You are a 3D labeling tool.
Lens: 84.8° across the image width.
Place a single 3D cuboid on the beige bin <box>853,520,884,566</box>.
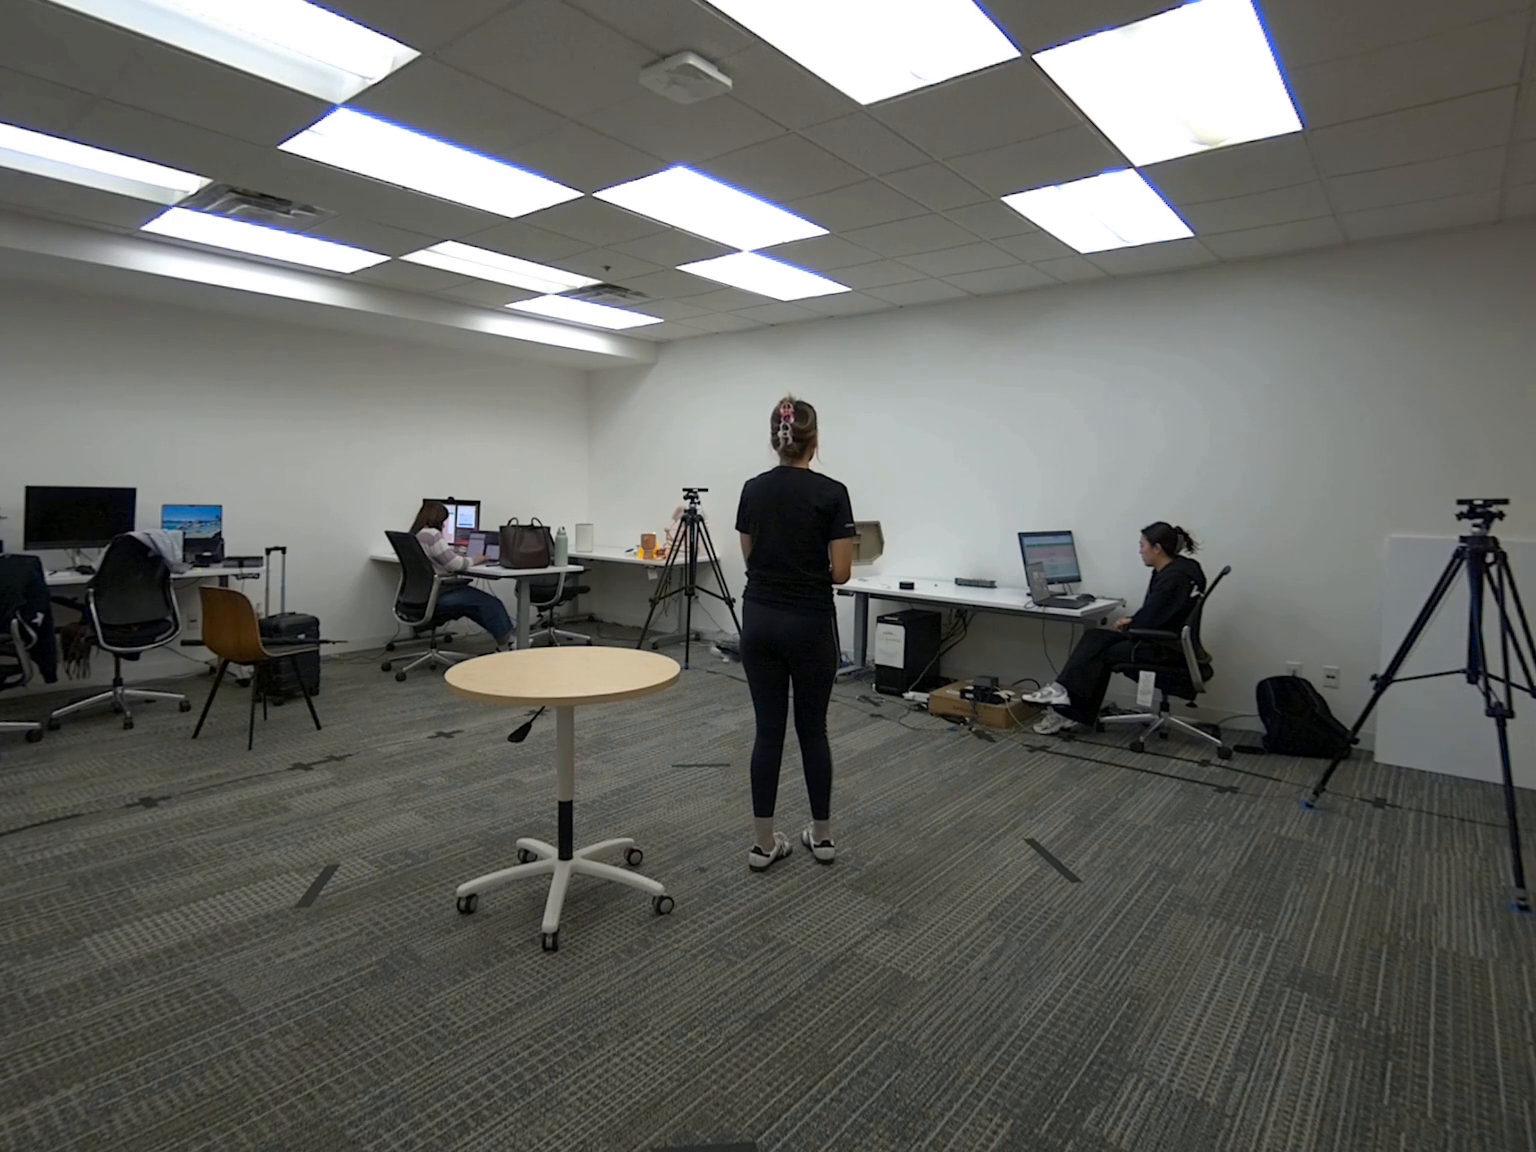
[{"bbox_3d":[0.189,-0.163,3.525,0.367,0.187,0.437,-5,11,-32],"label":"beige bin"}]
